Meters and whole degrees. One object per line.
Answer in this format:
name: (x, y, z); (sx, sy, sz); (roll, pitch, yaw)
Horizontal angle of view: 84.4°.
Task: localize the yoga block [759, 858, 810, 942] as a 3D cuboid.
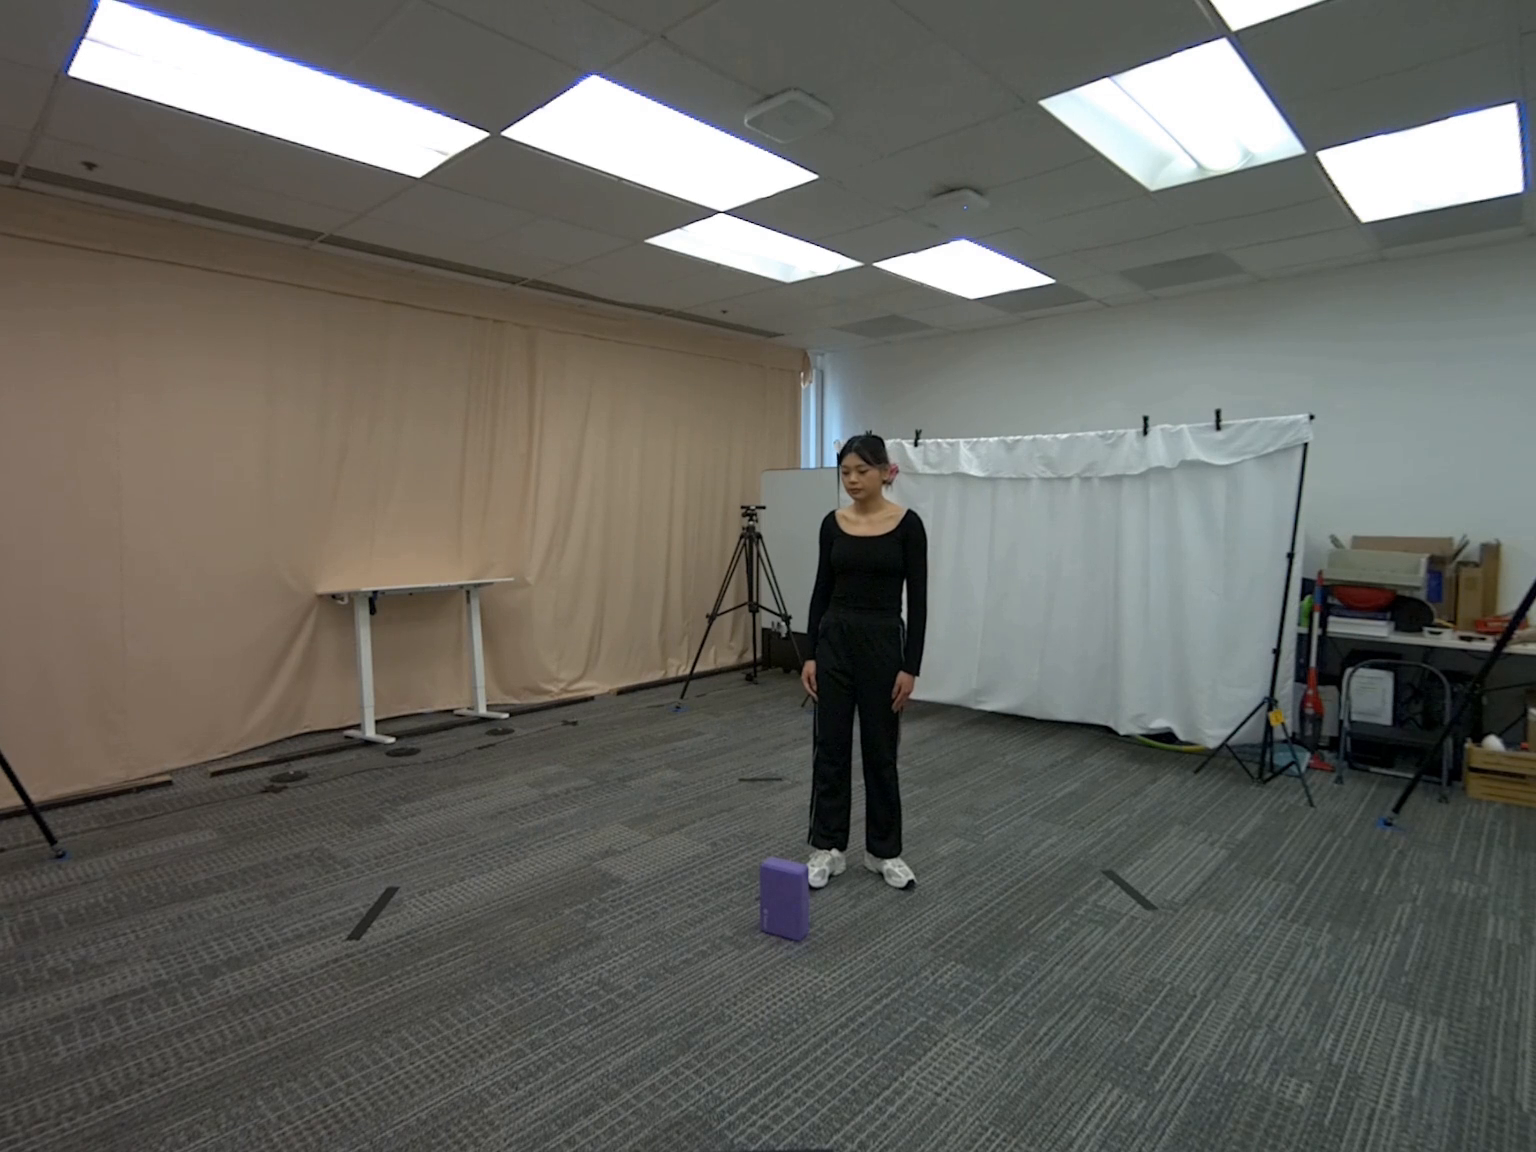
yoga block: (0.059, 1.049, 2.737); (0.153, 0.229, 0.074); (2, 4, 28)
